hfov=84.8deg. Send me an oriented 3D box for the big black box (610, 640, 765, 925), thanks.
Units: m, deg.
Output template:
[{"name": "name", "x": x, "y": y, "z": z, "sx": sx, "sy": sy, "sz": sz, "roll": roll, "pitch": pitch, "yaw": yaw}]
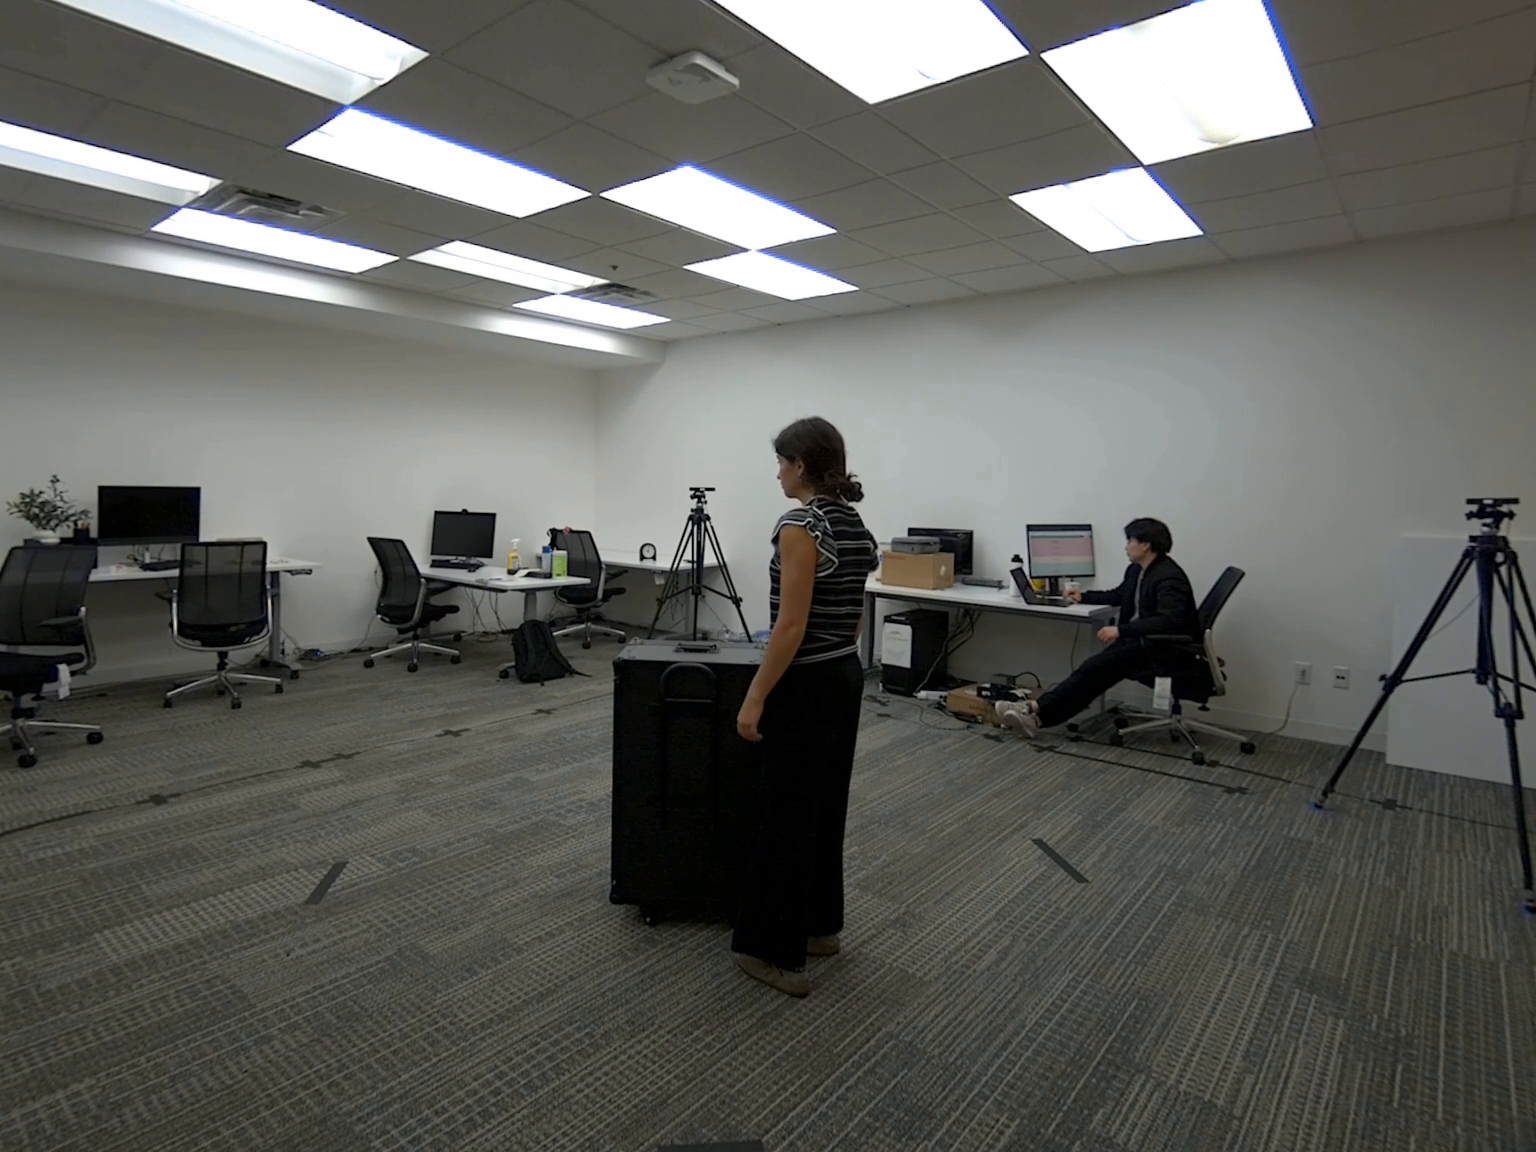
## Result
[{"name": "big black box", "x": -0.256, "y": 0.666, "z": 2.814, "sx": 0.524, "sy": 0.859, "sz": 0.396, "roll": 2, "pitch": 4, "yaw": 3}]
